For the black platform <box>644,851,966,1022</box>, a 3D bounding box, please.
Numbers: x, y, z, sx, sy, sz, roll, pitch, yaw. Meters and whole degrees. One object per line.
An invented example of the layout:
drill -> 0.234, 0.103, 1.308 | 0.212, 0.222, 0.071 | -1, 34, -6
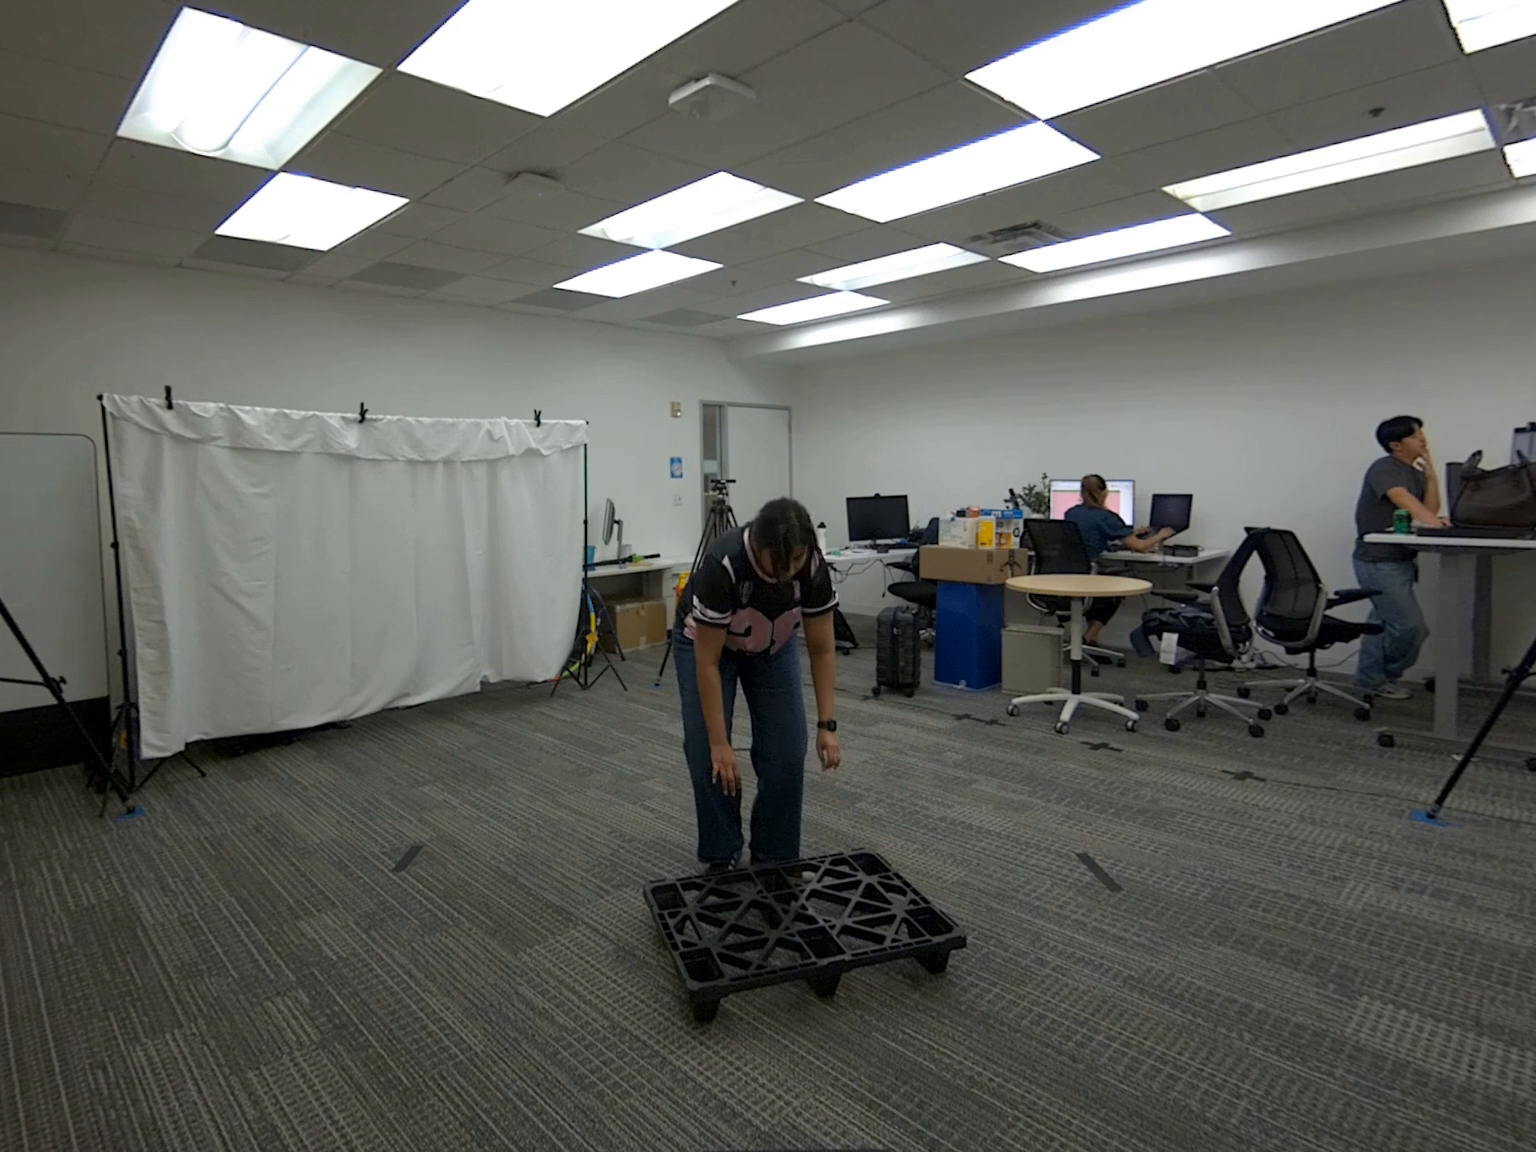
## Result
black platform -> 0.080, 1.044, 2.527 | 0.793, 0.143, 0.617 | -3, 6, -18
